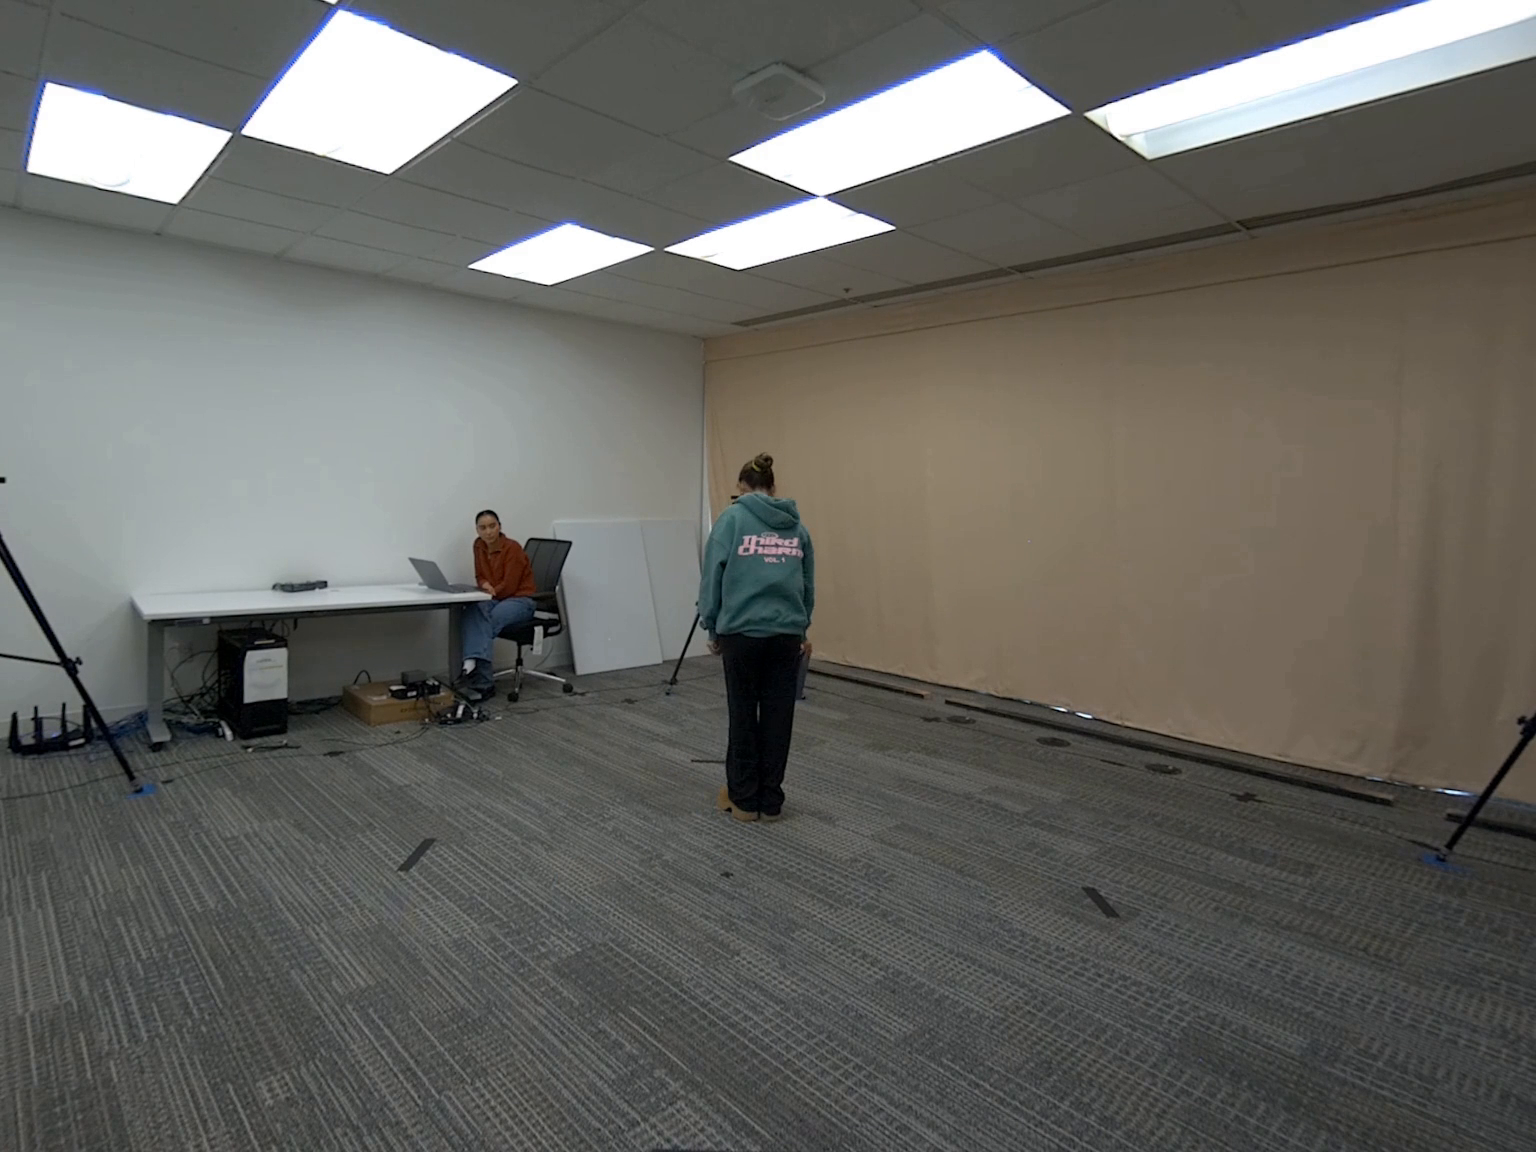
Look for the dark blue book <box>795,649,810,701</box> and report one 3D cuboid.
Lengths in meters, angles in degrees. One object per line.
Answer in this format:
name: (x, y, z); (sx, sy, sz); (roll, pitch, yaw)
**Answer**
dark blue book: (0.130, 0.468, 3.980); (0.046, 0.246, 0.160); (8, -5, 17)
